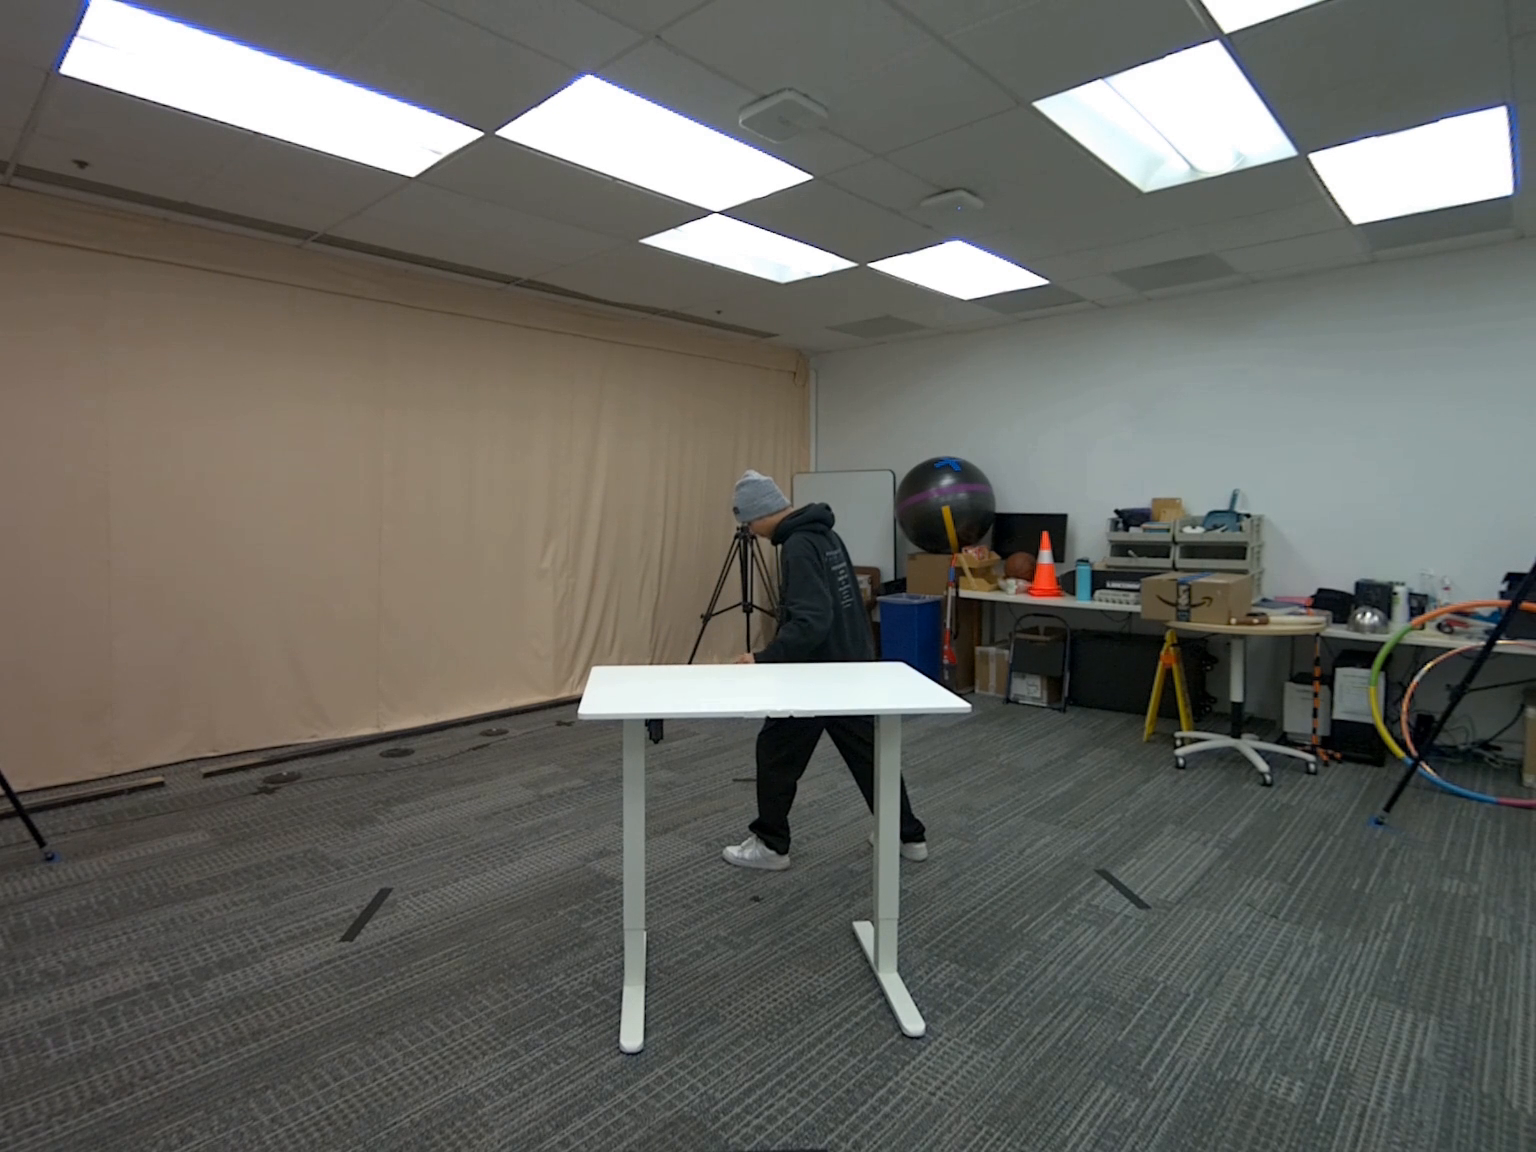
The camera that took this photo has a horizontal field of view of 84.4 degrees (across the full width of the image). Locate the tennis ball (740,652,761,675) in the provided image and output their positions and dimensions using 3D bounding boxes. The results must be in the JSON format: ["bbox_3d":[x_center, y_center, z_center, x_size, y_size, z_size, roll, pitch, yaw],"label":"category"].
[{"bbox_3d":[-0.063,0.306,2.977,0.066,0.066,0.067,0,4,-2],"label":"tennis ball"}]
